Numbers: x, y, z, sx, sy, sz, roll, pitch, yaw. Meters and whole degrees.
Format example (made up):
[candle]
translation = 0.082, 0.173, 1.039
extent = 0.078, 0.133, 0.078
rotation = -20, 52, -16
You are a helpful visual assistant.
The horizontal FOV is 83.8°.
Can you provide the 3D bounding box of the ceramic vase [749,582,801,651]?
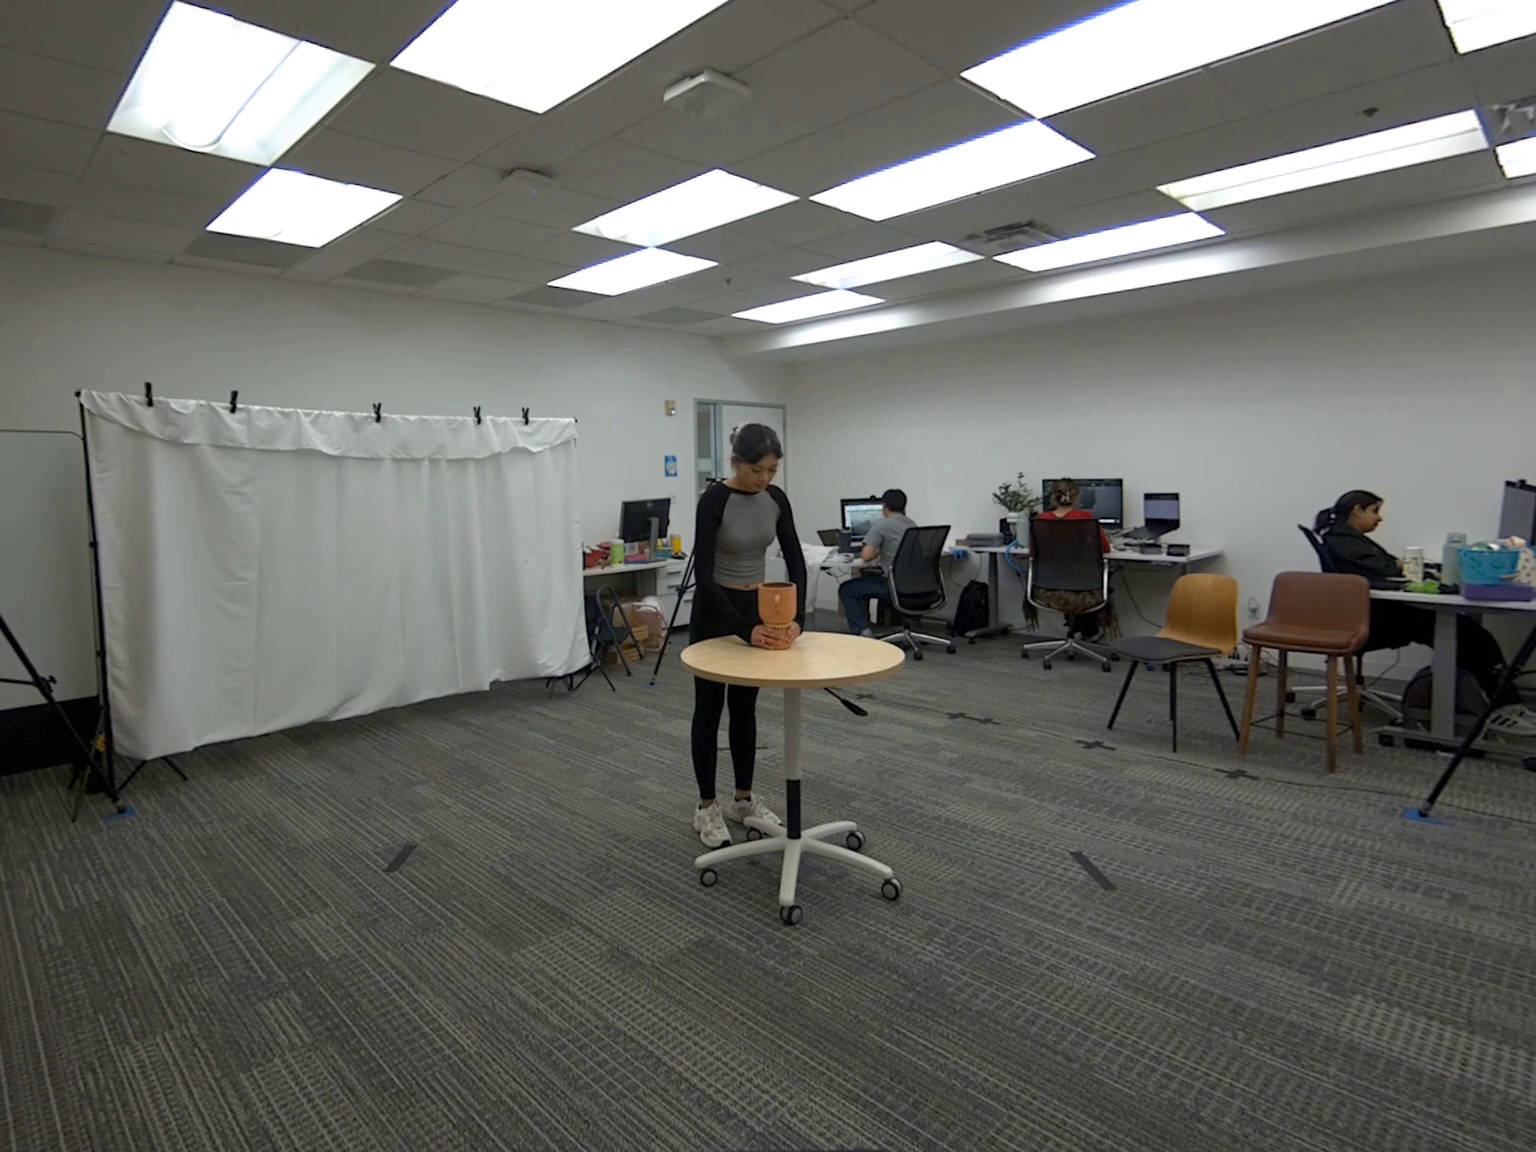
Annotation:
[ceramic vase]
translation = 0.036, 0.136, 3.033
extent = 0.139, 0.218, 0.155
rotation = 4, 8, 39
